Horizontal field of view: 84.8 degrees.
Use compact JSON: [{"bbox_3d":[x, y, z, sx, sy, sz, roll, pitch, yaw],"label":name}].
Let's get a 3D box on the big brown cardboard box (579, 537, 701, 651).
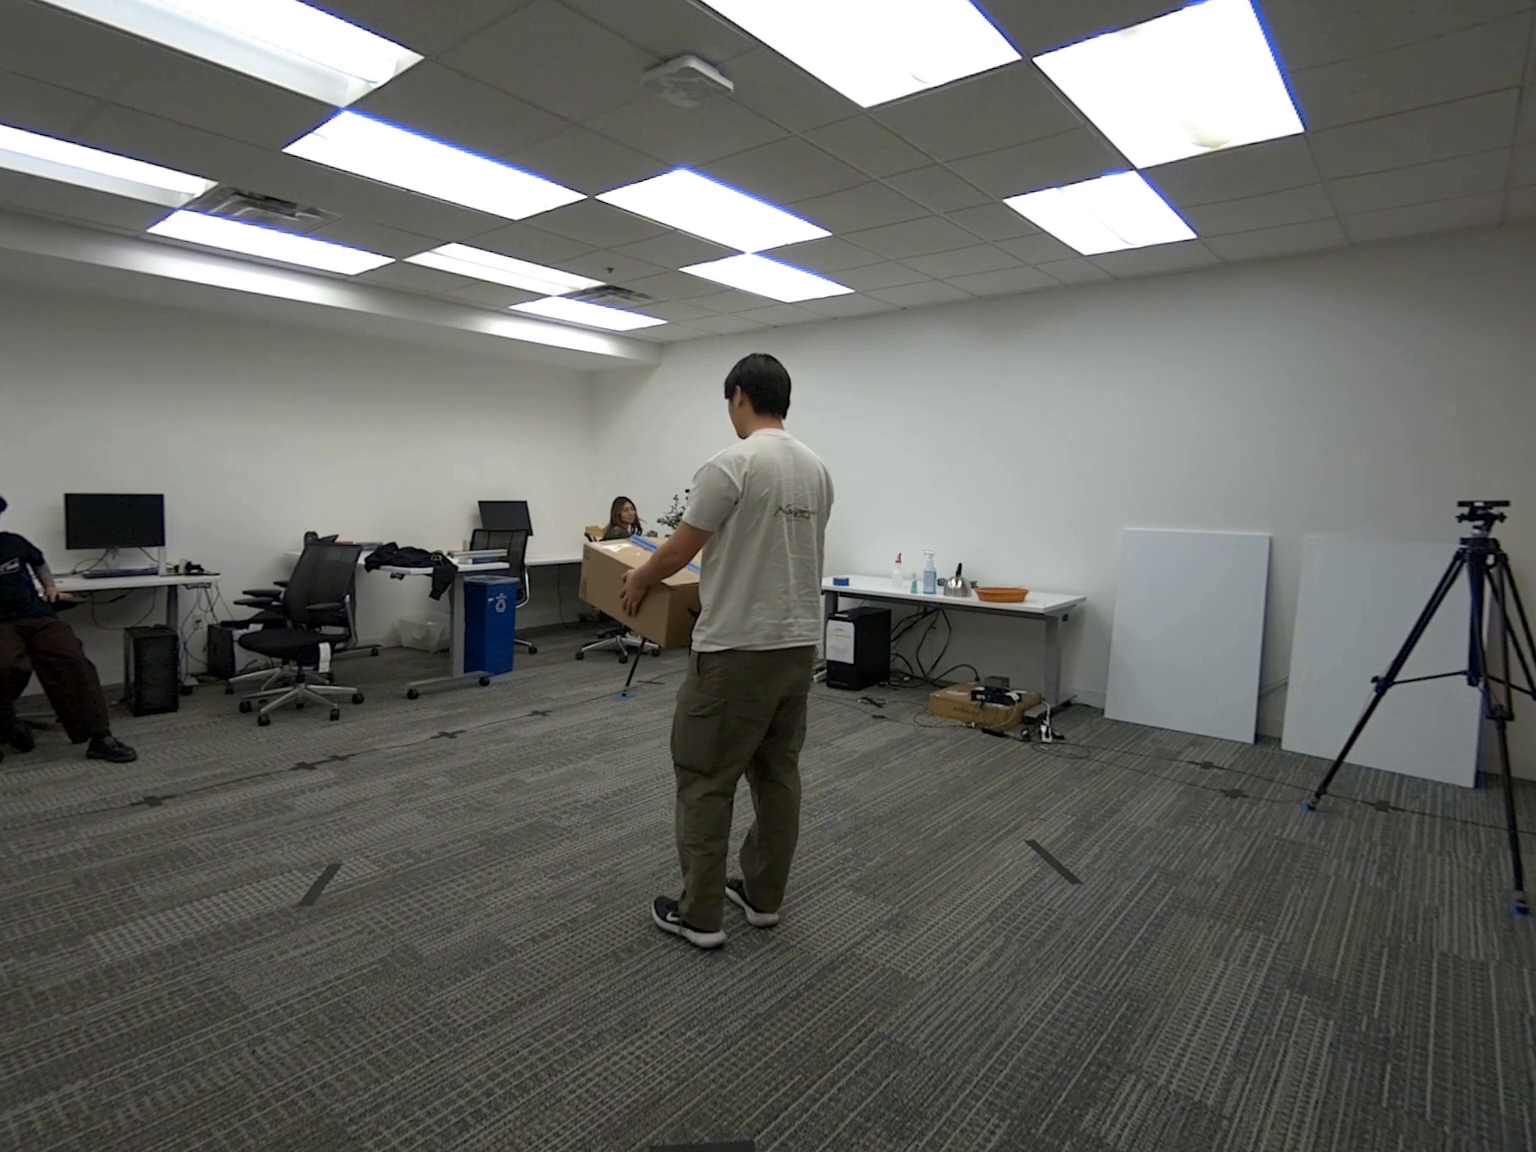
[{"bbox_3d":[-0.368,0.040,3.078,0.405,0.230,0.613,-5,20,-40],"label":"big brown cardboard box"}]
